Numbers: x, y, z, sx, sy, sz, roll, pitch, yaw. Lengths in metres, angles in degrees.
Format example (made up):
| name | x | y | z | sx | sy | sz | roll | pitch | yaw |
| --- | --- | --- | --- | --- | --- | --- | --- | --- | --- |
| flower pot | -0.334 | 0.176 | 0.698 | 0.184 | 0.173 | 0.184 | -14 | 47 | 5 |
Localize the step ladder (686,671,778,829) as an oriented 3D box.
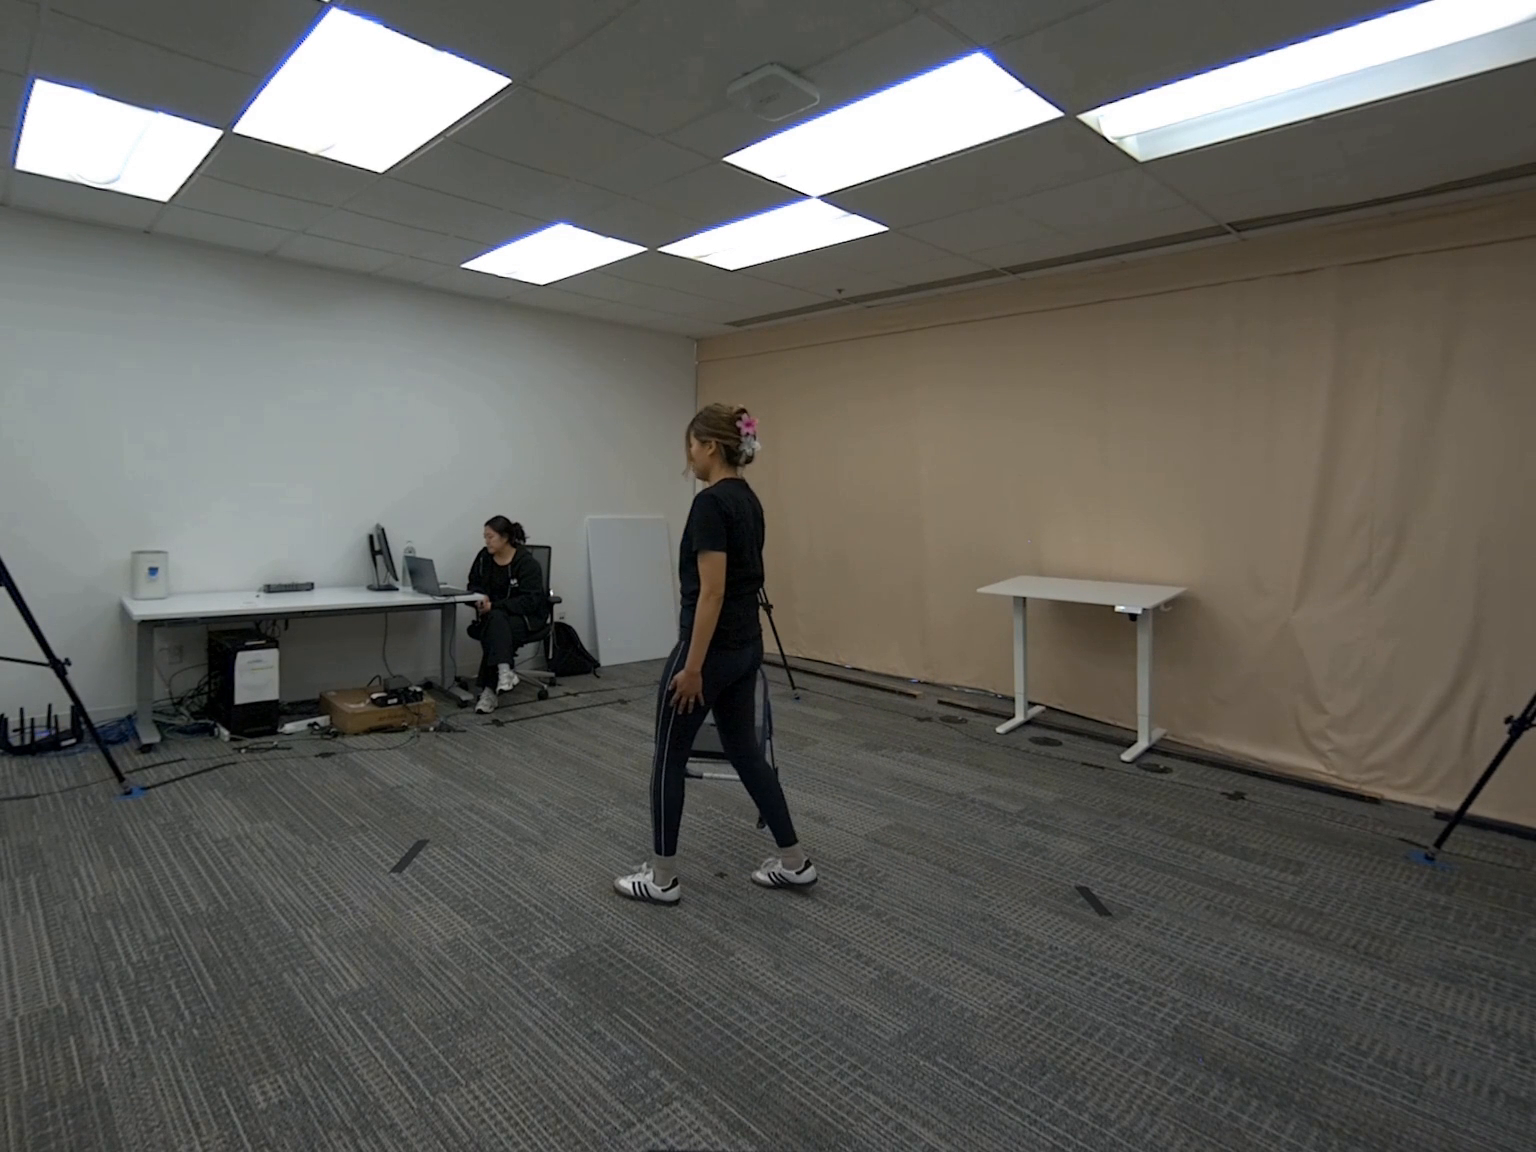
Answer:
| name | x | y | z | sx | sy | sz | roll | pitch | yaw |
| --- | --- | --- | --- | --- | --- | --- | --- | --- | --- |
| step ladder | -0.199 | 0.610 | 3.293 | 0.435 | 0.600 | 0.349 | 2 | 14 | 13 |
